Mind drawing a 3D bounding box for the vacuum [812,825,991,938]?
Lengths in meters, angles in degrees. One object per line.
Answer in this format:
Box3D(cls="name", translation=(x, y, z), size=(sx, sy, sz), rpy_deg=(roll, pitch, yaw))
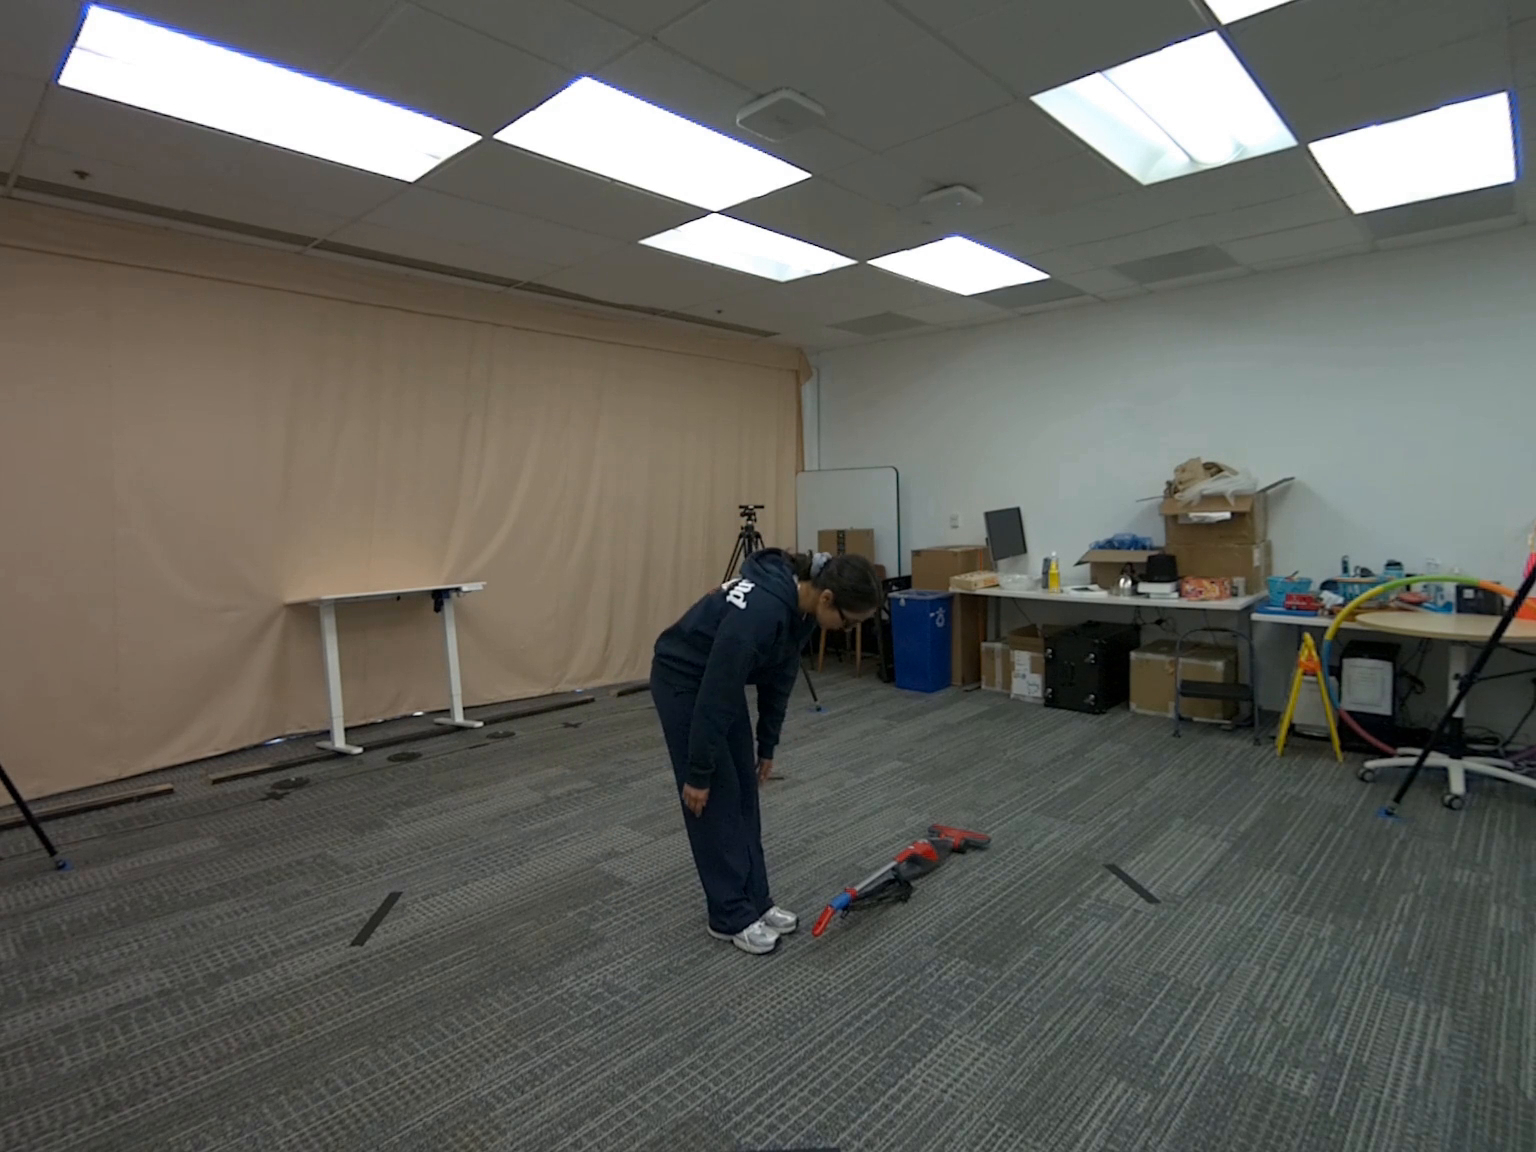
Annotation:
Box3D(cls="vacuum", translation=(0.462, 1.082, 3.006), size=(0.261, 0.143, 1.018), rpy_deg=(7, 7, 36))
